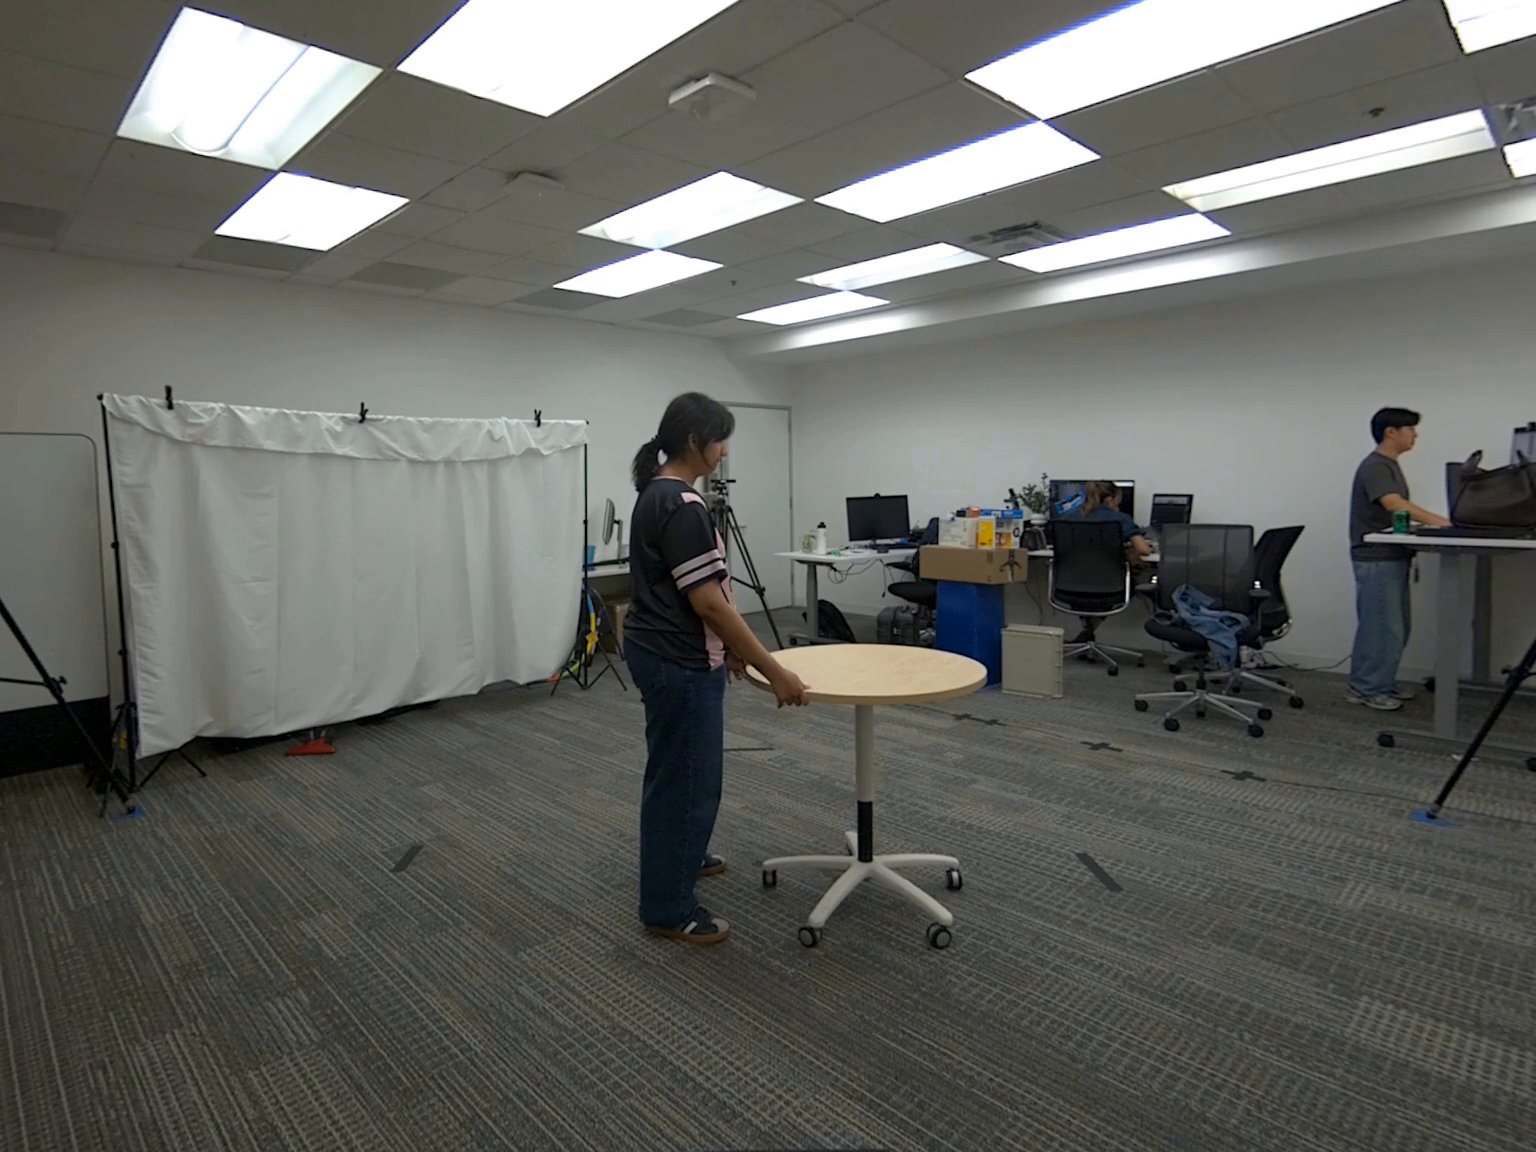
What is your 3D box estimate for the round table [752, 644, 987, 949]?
[{"bbox_3d":[0.322,0.684,2.796,0.763,0.791,0.768,-1,5,-2],"label":"round table"}]
